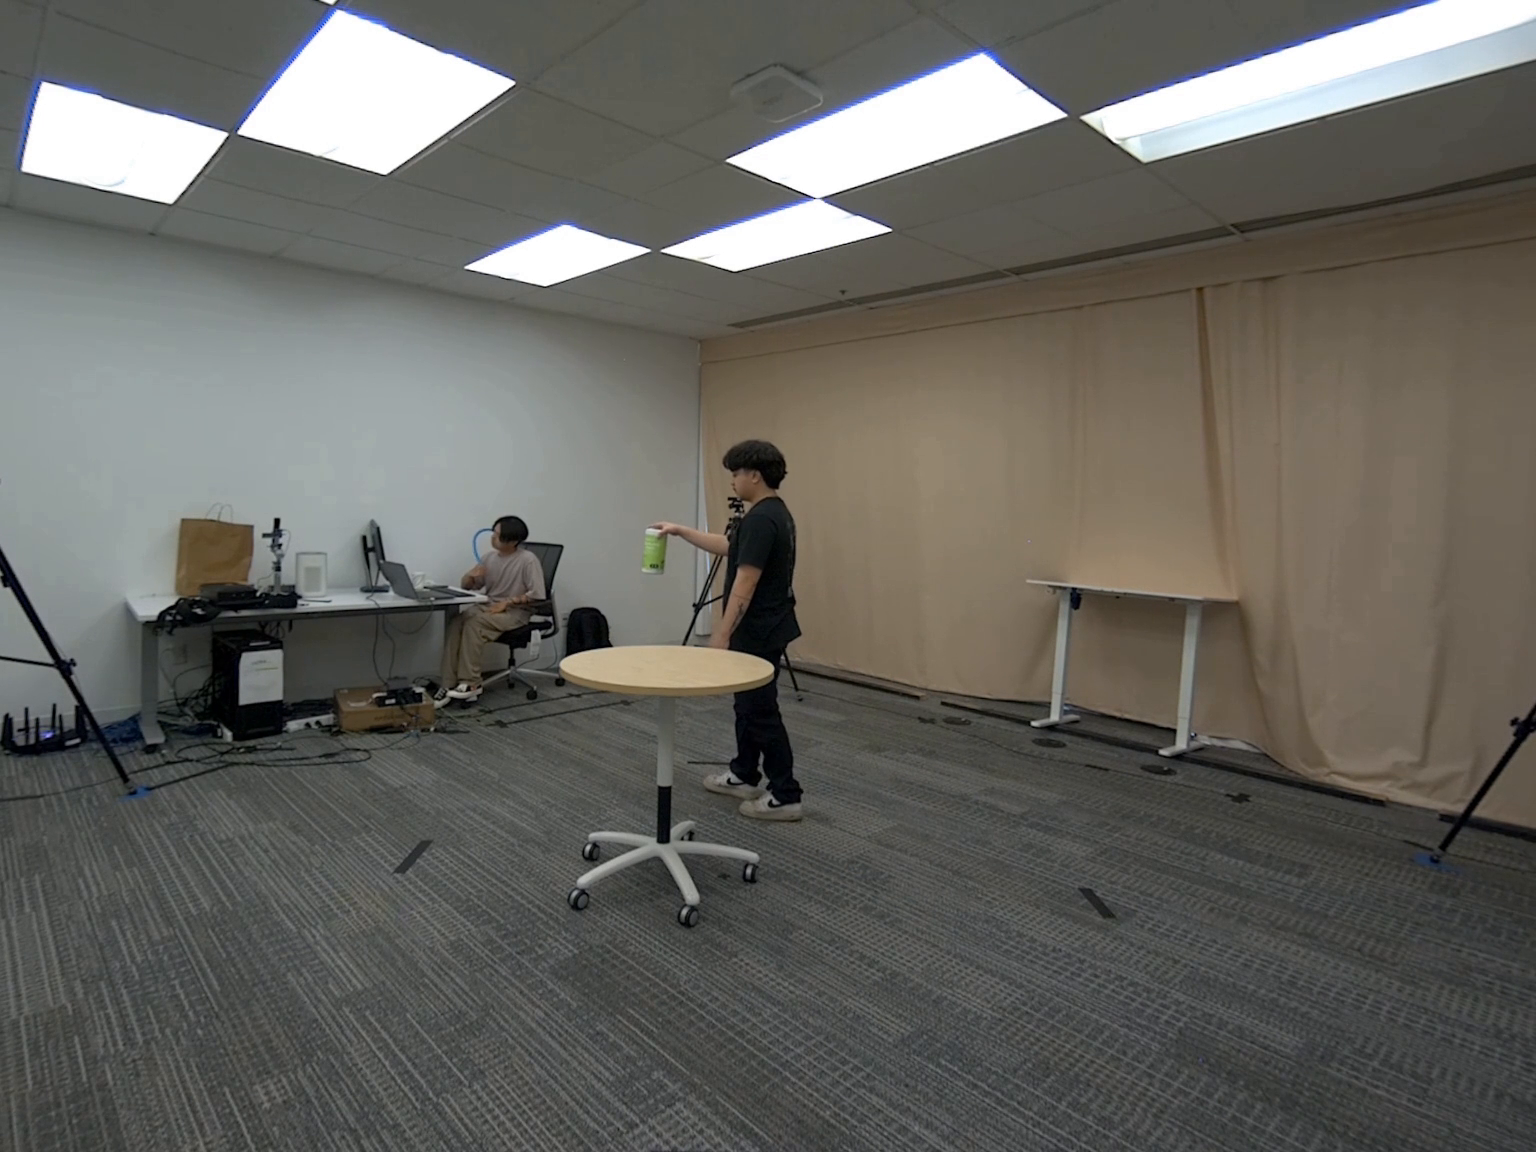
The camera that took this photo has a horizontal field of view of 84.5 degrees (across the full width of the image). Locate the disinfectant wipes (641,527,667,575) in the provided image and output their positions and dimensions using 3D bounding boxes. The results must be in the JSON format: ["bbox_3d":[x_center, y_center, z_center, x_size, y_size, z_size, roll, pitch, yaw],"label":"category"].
[{"bbox_3d":[-0.559,-0.121,4.106,0.118,0.217,0.118,5,3,-2],"label":"disinfectant wipes"}]
